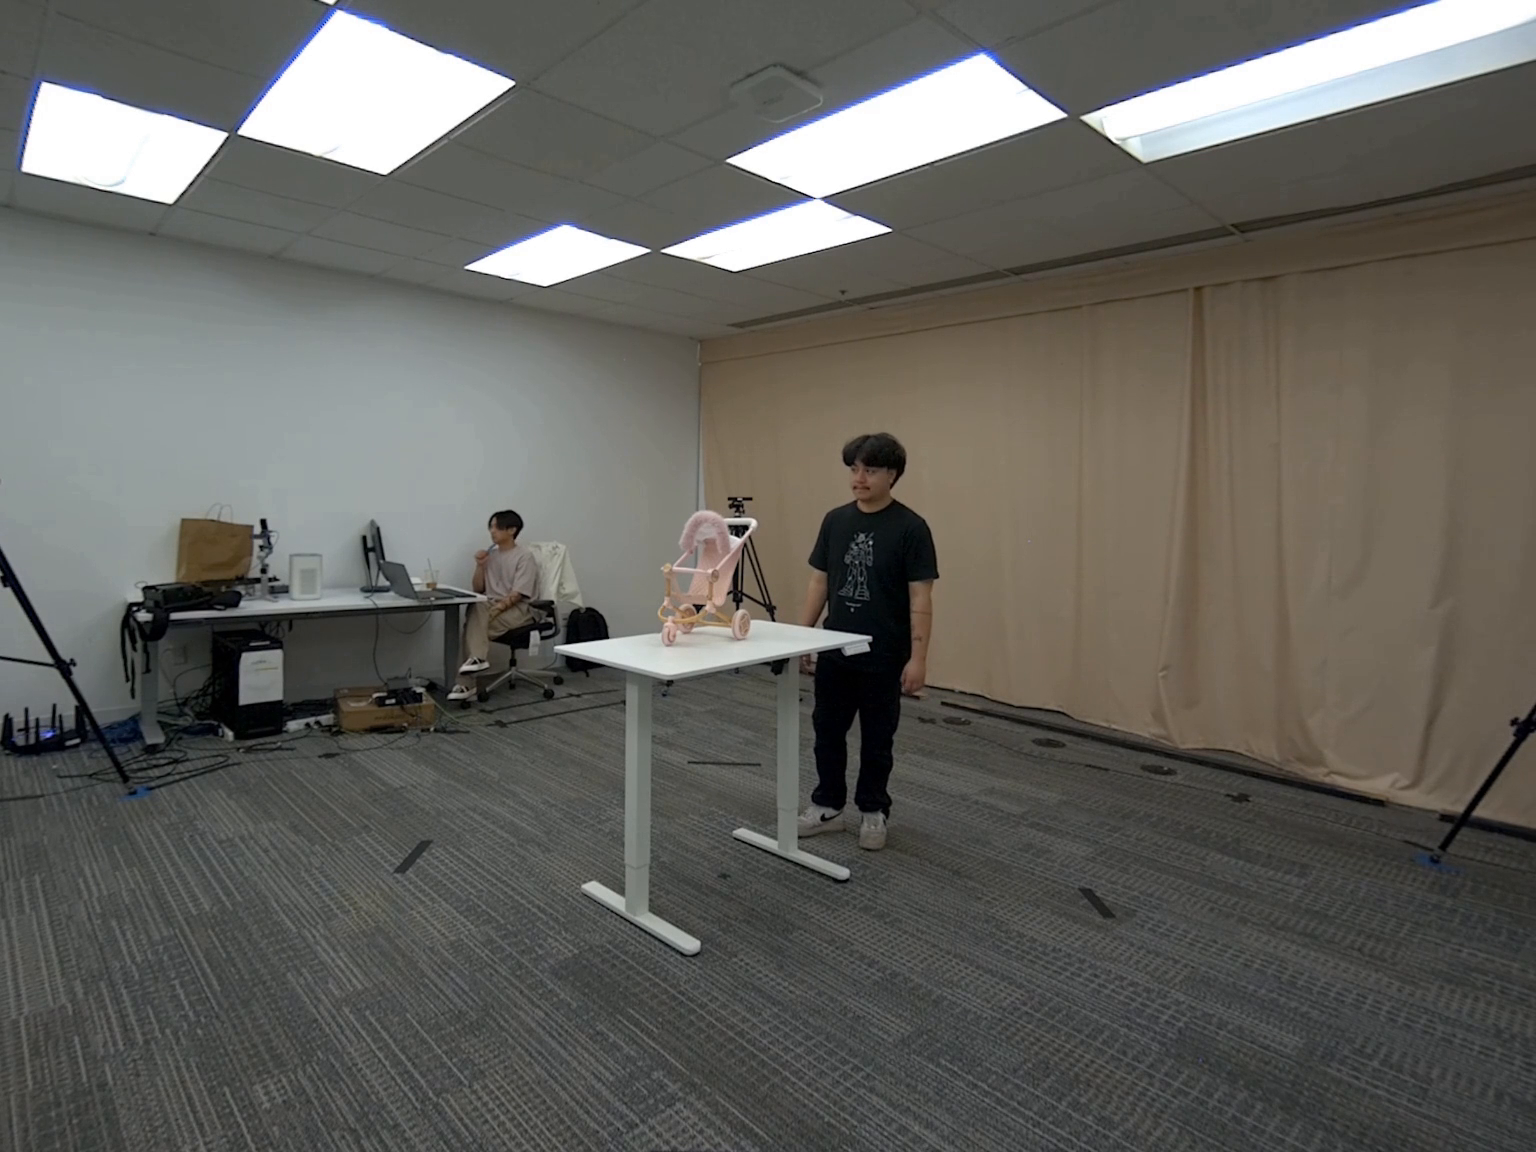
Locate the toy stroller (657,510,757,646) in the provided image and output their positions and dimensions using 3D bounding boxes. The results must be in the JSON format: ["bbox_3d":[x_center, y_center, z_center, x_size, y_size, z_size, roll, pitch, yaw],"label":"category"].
[{"bbox_3d":[-0.243,0.006,3.041,0.288,0.538,0.331,3,-11,37],"label":"toy stroller"}]
